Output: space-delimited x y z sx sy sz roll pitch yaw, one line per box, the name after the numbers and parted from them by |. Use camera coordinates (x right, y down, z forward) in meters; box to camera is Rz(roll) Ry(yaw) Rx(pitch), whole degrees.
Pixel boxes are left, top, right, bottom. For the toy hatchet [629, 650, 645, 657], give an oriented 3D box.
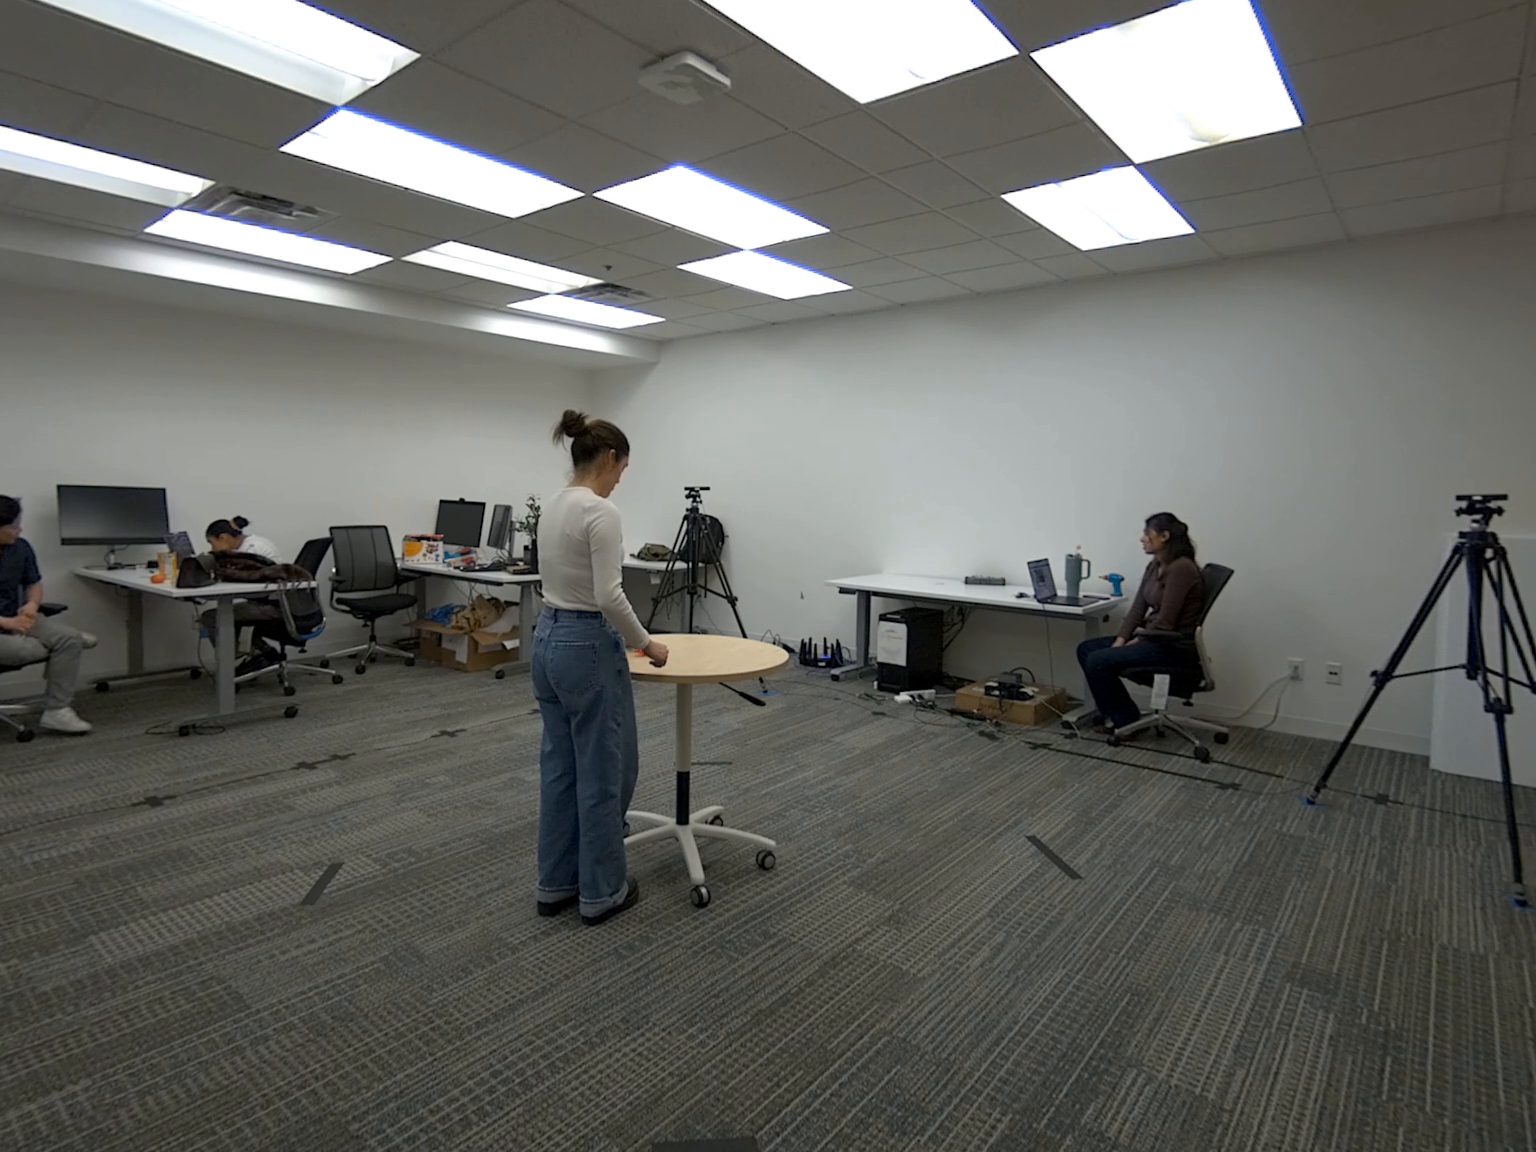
-0.484 0.258 3.173 0.128 0.029 0.276 -1 5 -19 | toy hatchet
